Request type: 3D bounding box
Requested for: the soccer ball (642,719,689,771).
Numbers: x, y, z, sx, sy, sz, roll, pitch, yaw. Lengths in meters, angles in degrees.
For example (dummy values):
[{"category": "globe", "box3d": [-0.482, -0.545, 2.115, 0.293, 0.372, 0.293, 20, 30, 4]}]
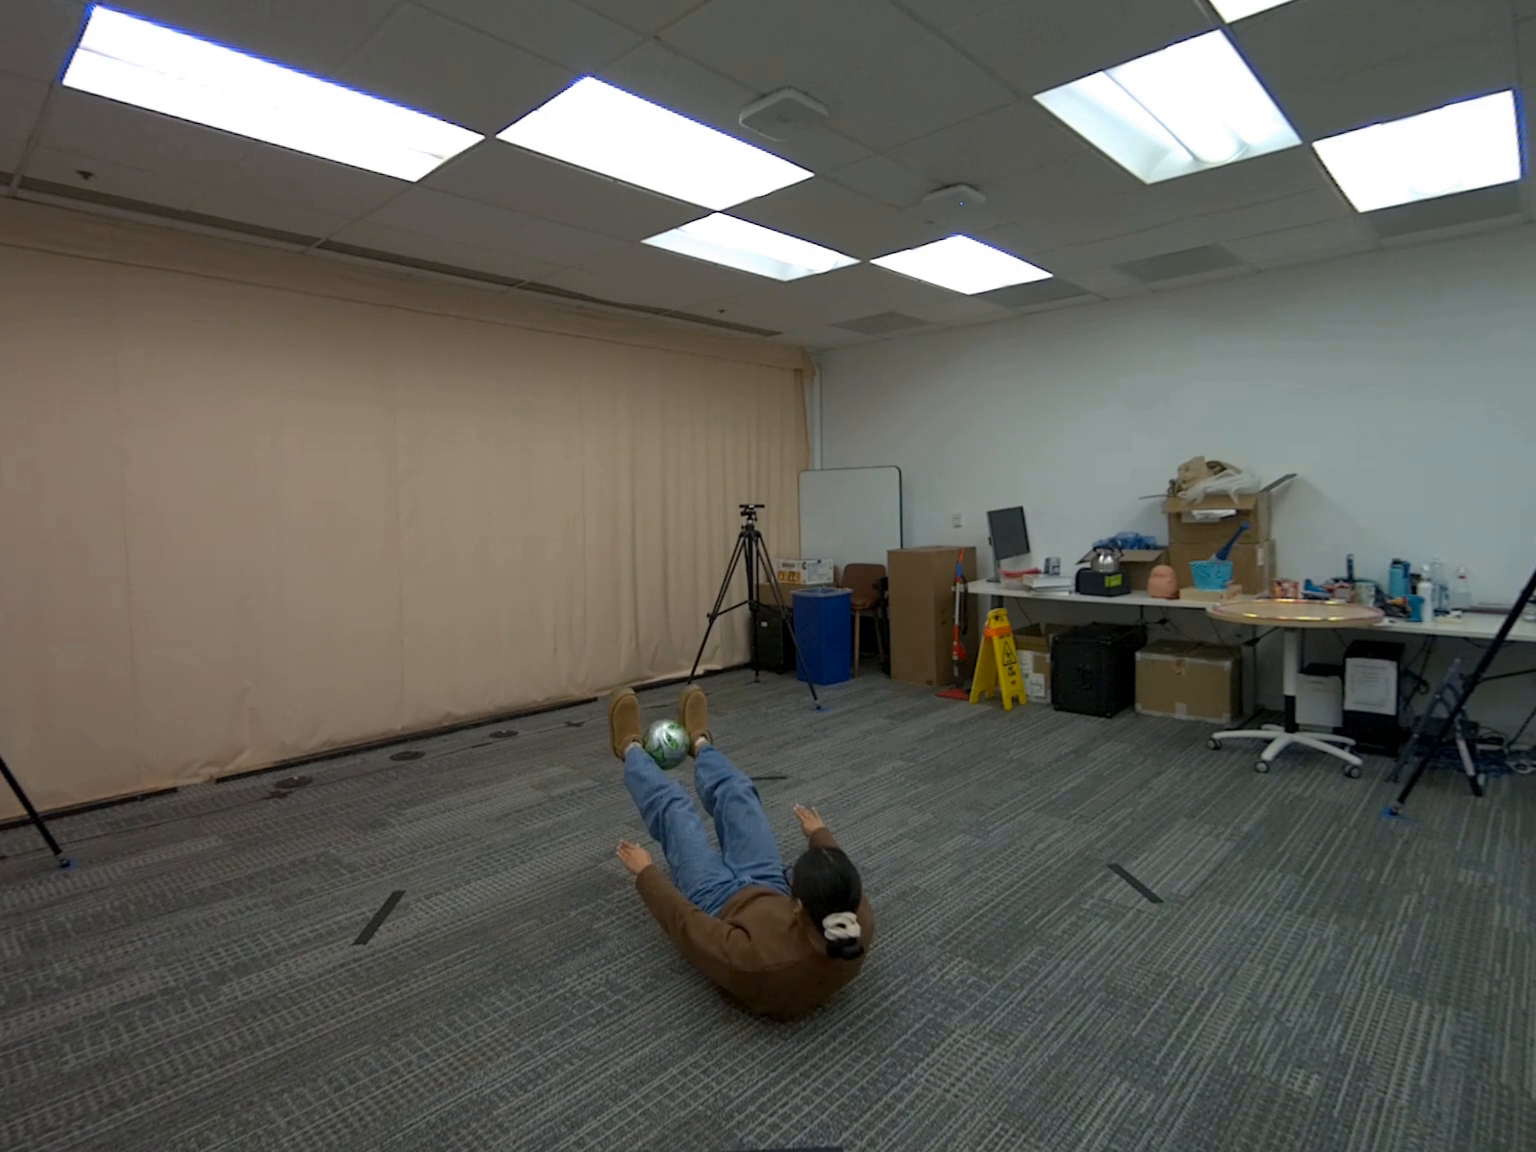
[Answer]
[{"category": "soccer ball", "box3d": [-0.392, 0.649, 3.193, 0.187, 0.187, 0.188, -1, 4, -2]}]
